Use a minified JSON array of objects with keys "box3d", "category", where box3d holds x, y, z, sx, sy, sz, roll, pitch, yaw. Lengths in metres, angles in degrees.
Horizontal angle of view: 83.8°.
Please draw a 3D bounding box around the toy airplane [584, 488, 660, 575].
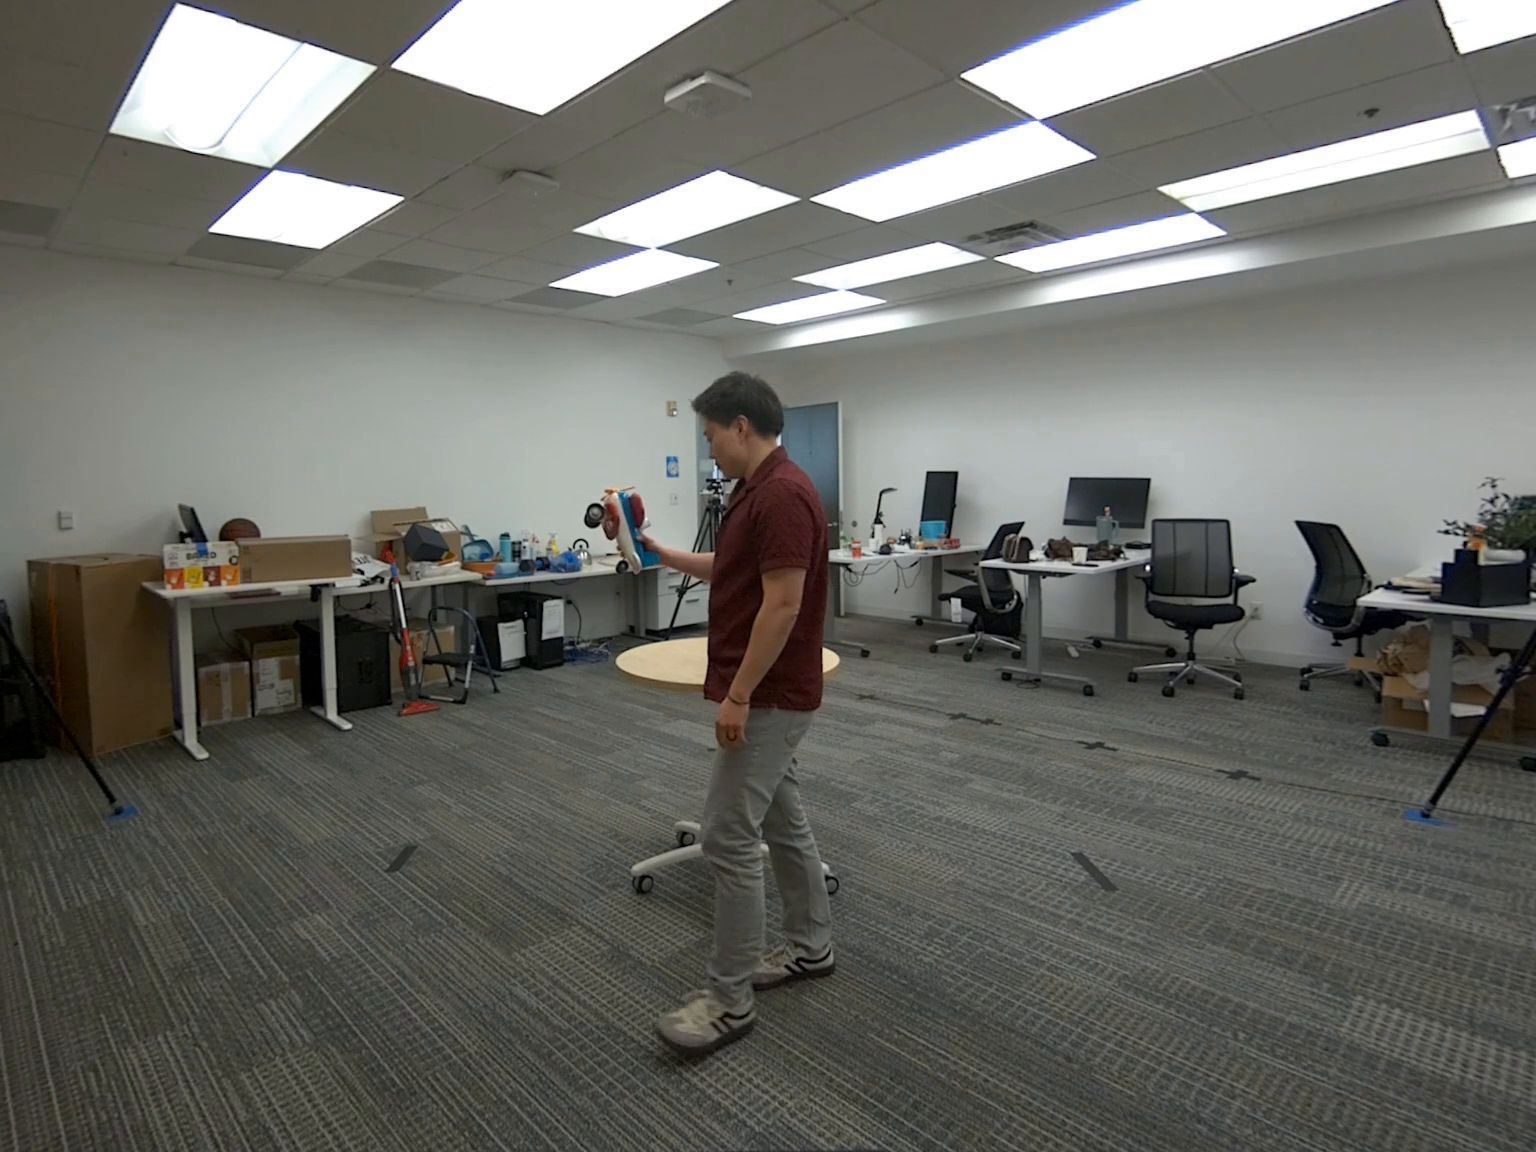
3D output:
[{"box3d":[-0.442,-0.131,2.578,0.155,0.252,0.259,-33,26,-19],"category":"toy airplane"}]
